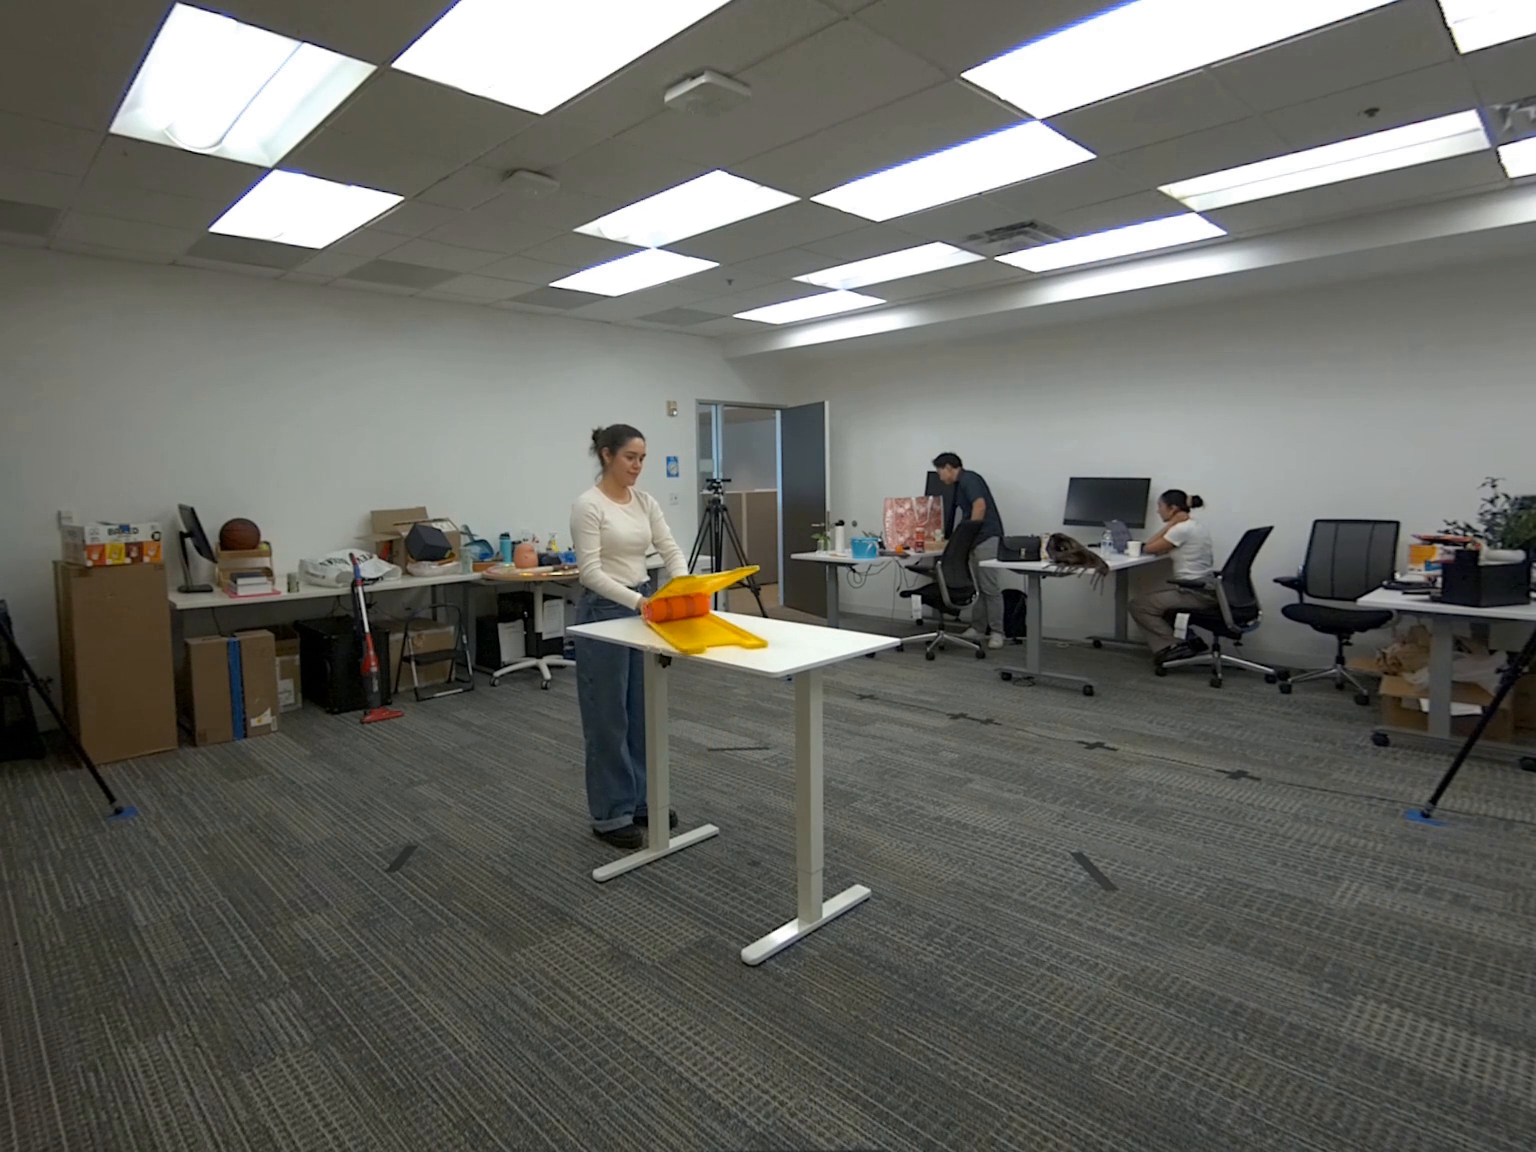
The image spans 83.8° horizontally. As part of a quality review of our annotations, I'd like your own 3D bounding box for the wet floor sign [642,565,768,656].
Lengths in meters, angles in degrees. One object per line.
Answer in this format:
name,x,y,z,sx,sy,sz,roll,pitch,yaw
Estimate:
wet floor sign,-0.251,0.121,2.891,0.277,0.290,0.657,-6,1,-22
